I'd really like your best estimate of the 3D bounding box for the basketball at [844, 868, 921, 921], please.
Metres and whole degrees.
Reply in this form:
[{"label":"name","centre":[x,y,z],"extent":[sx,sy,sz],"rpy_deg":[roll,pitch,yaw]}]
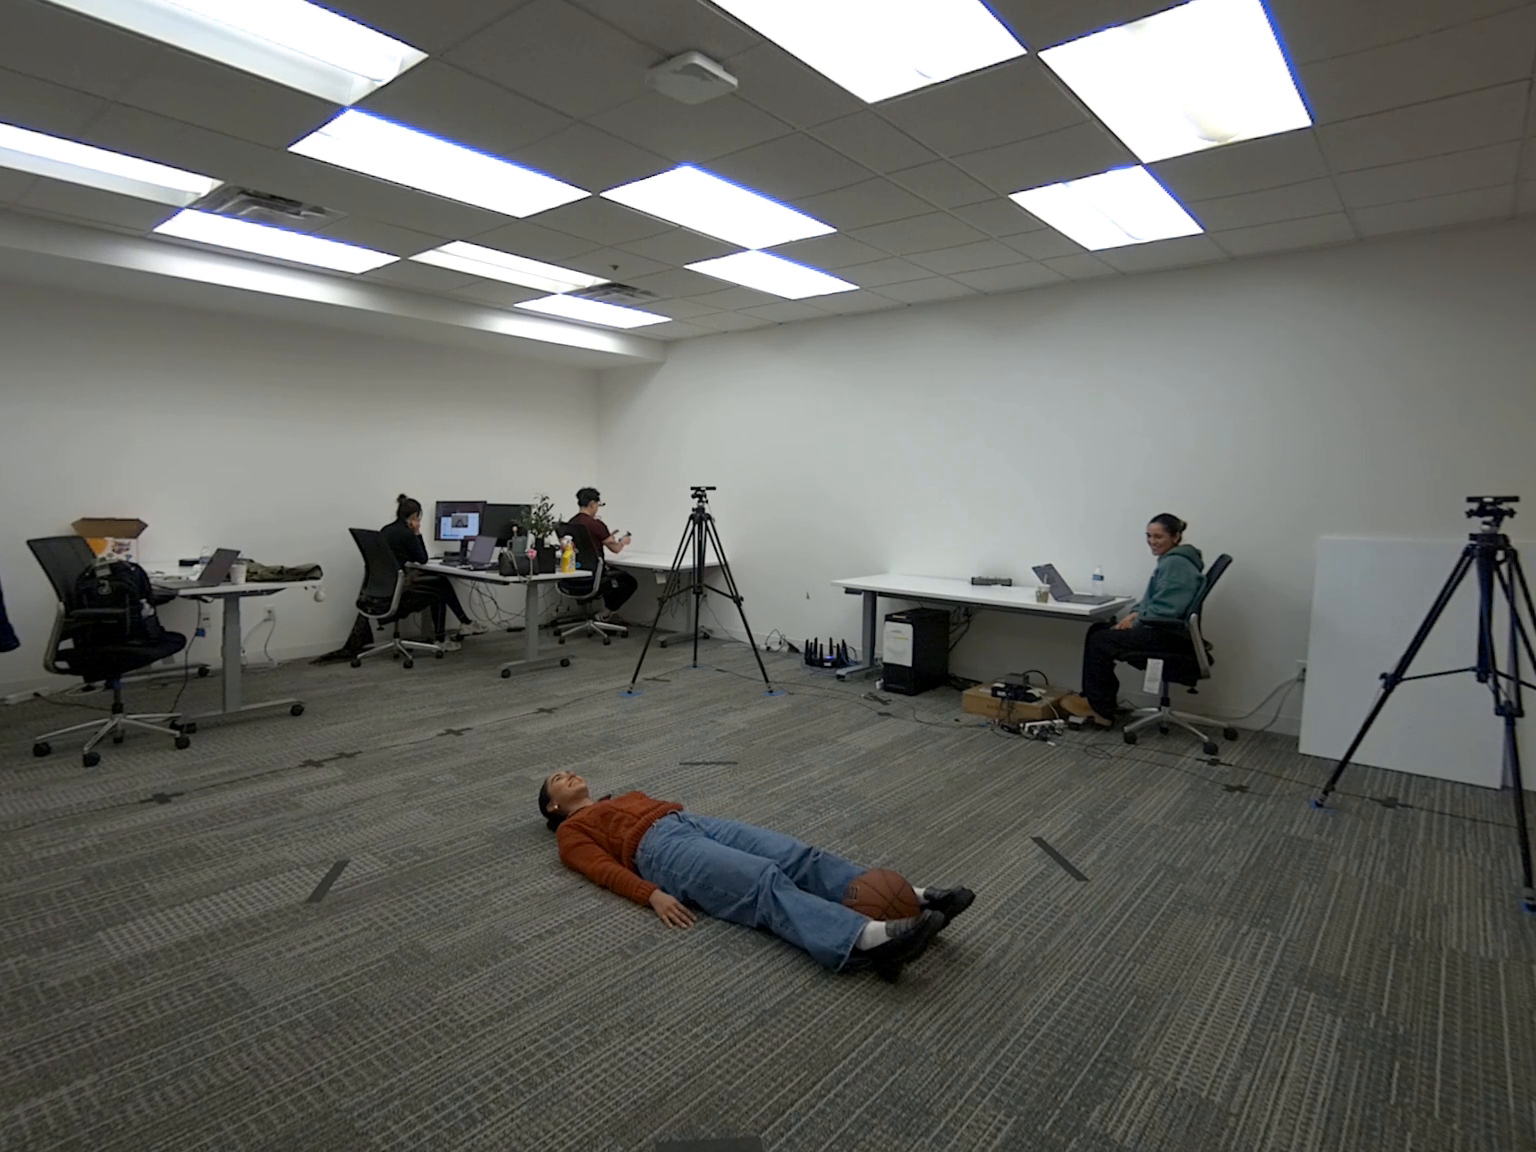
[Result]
[{"label":"basketball","centre":[0.341,1.019,2.579],"extent":[0.236,0.235,0.237],"rpy_deg":[1,4,-2]}]
